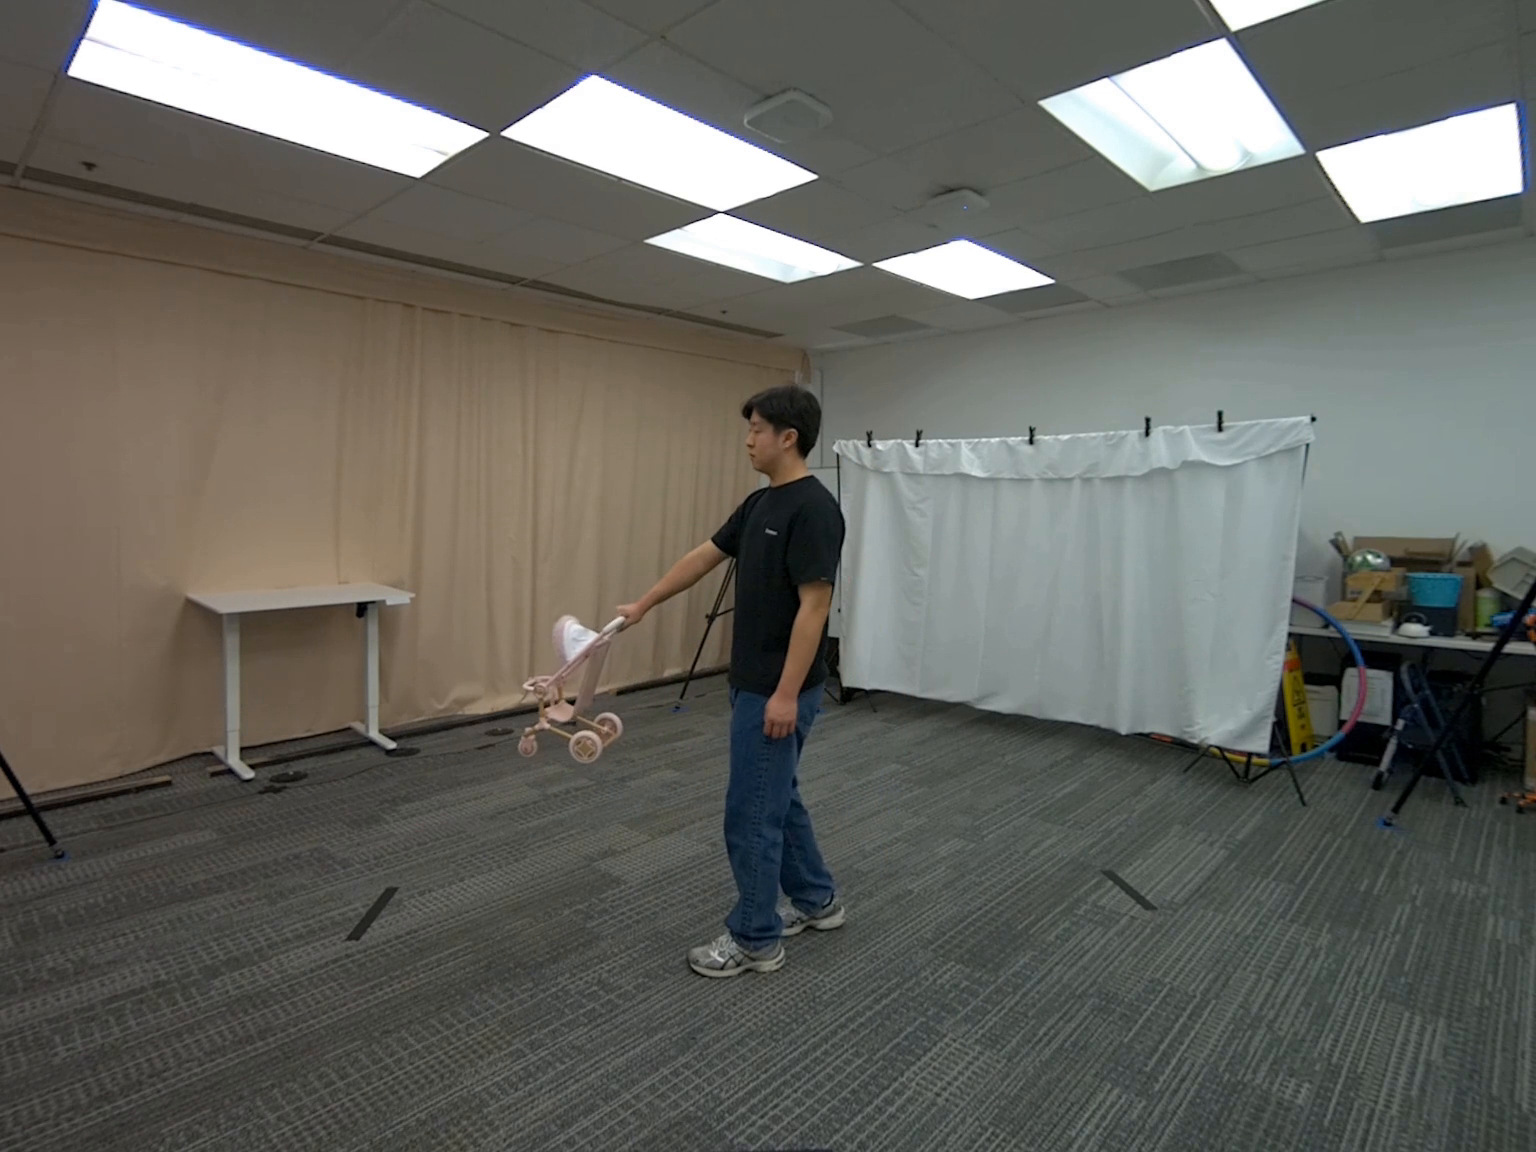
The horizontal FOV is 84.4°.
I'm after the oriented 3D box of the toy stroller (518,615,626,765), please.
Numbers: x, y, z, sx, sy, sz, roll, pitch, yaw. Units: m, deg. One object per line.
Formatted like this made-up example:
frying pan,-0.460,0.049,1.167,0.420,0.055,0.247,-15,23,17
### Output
toy stroller,-0.659,0.375,2.843,0.346,0.534,0.278,7,3,12
